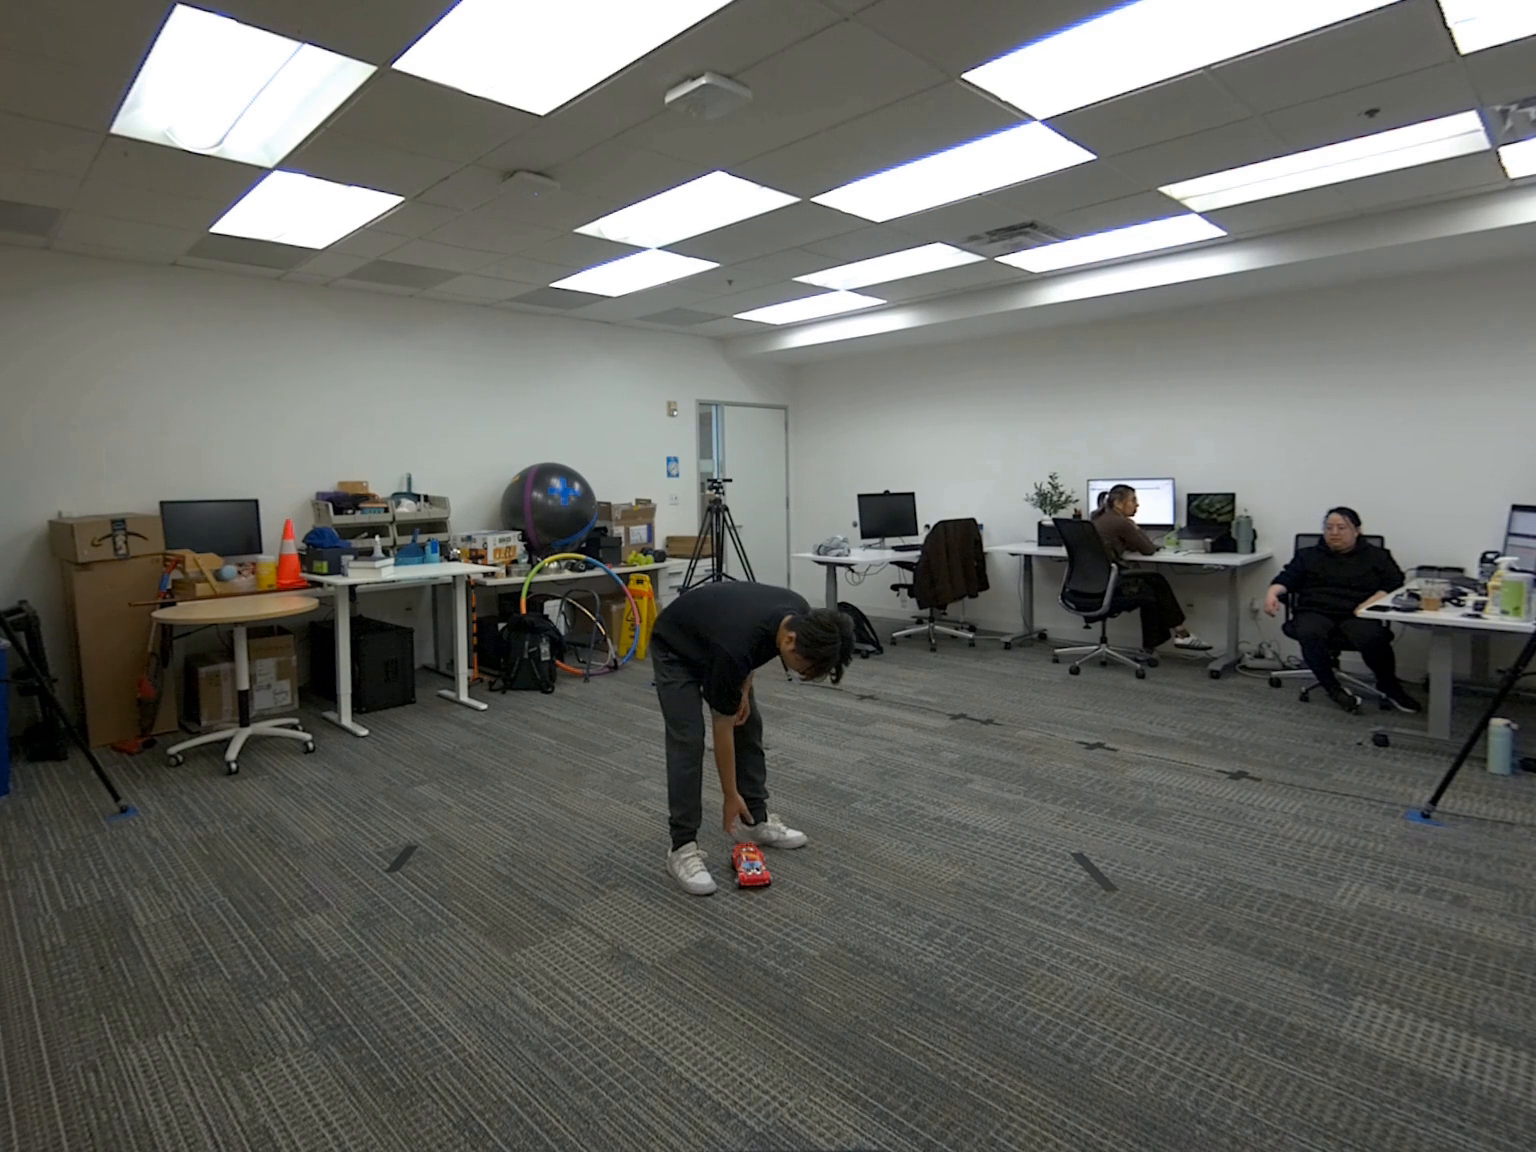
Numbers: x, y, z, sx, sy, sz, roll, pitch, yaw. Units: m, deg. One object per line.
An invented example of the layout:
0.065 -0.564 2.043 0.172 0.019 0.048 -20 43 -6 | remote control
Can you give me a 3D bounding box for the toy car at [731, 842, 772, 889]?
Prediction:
-0.069 1.029 3.022 0.129 0.082 0.260 -3 17 -8 | toy car
